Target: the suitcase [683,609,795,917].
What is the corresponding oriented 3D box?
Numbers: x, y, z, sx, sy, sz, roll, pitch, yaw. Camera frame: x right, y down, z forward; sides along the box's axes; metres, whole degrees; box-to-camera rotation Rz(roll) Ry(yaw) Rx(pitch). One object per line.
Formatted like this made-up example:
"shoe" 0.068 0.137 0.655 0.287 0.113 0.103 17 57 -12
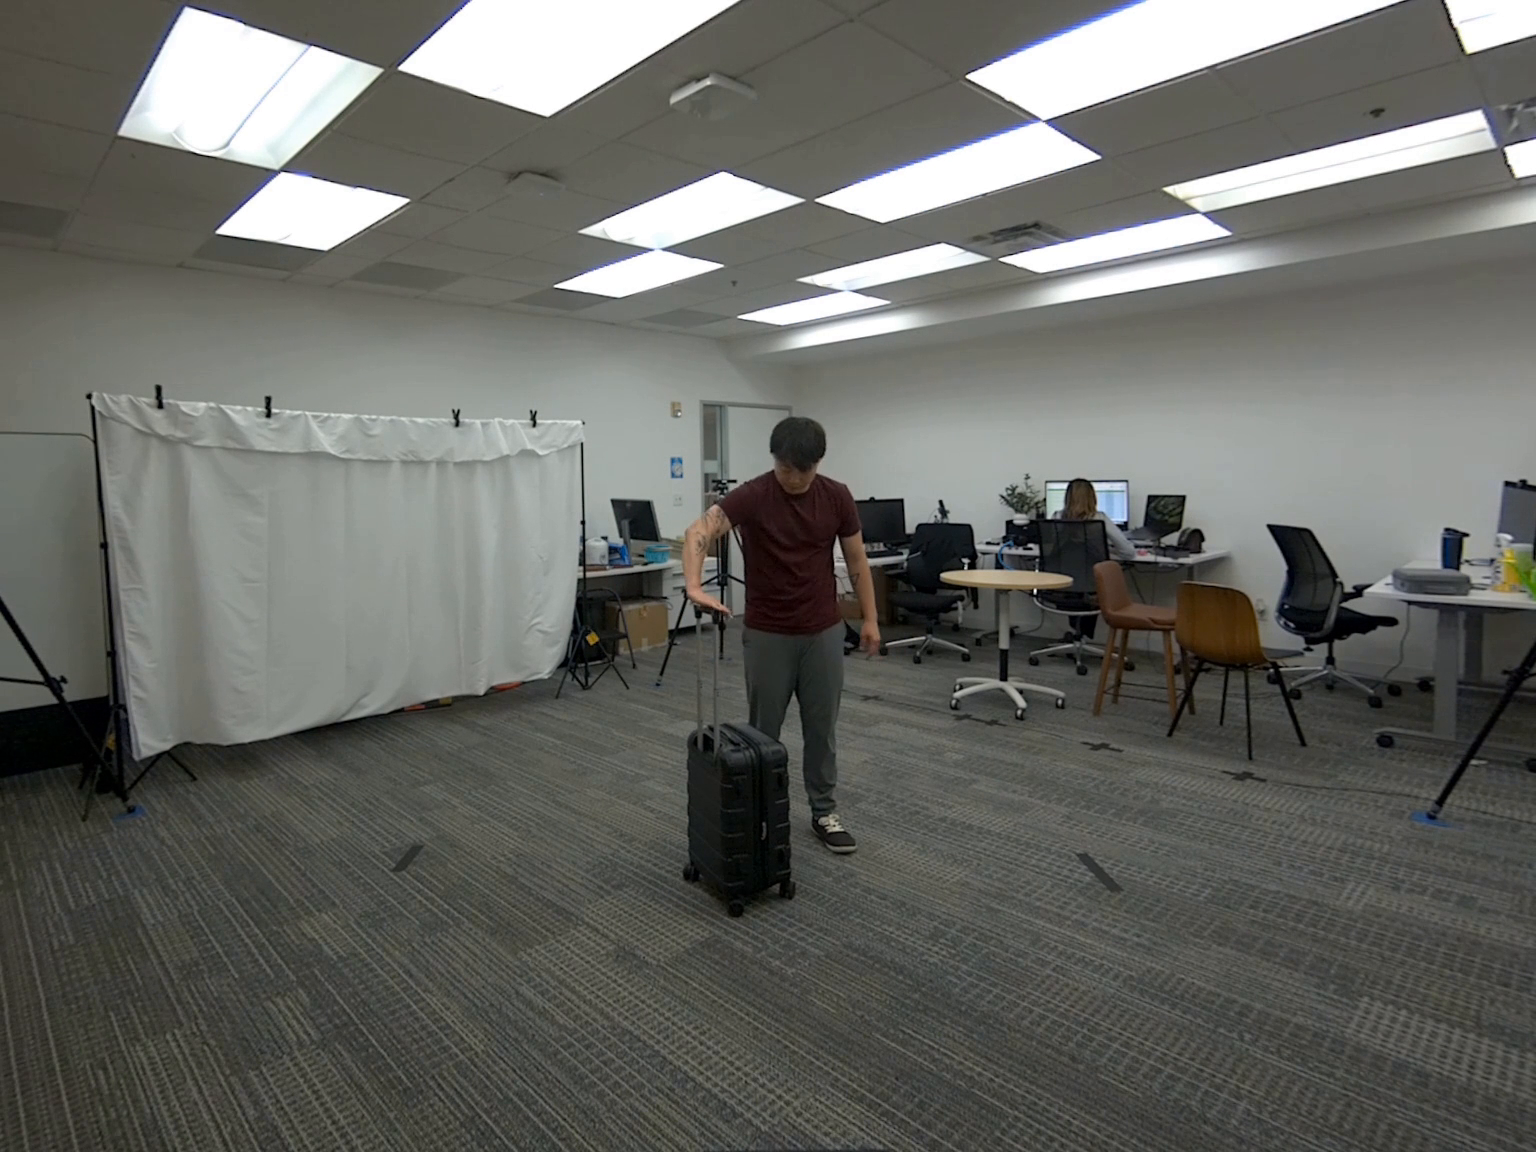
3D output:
"suitcase" -0.111 0.593 2.902 0.252 0.976 0.393 -1 4 -23
